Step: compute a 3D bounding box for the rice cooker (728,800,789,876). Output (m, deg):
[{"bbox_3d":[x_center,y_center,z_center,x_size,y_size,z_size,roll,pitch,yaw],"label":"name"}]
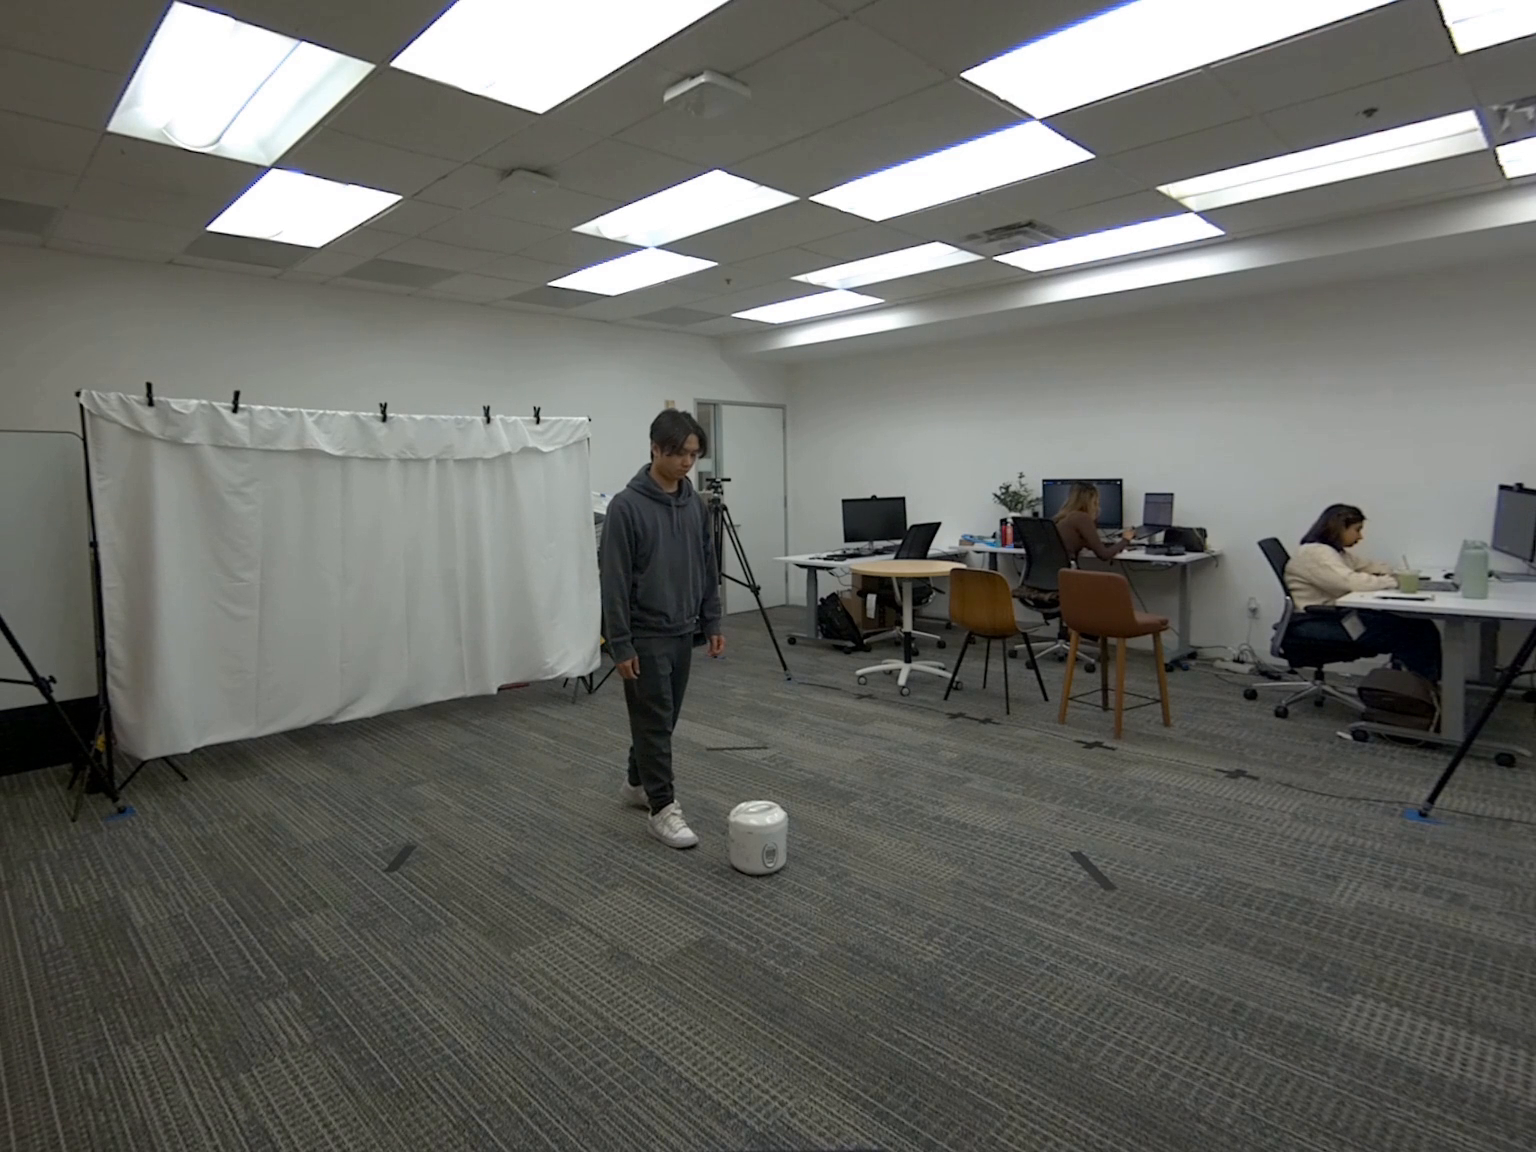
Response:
[{"bbox_3d":[-0.032,0.926,3.081,0.216,0.232,0.222,-3,4,-23],"label":"rice cooker"}]
